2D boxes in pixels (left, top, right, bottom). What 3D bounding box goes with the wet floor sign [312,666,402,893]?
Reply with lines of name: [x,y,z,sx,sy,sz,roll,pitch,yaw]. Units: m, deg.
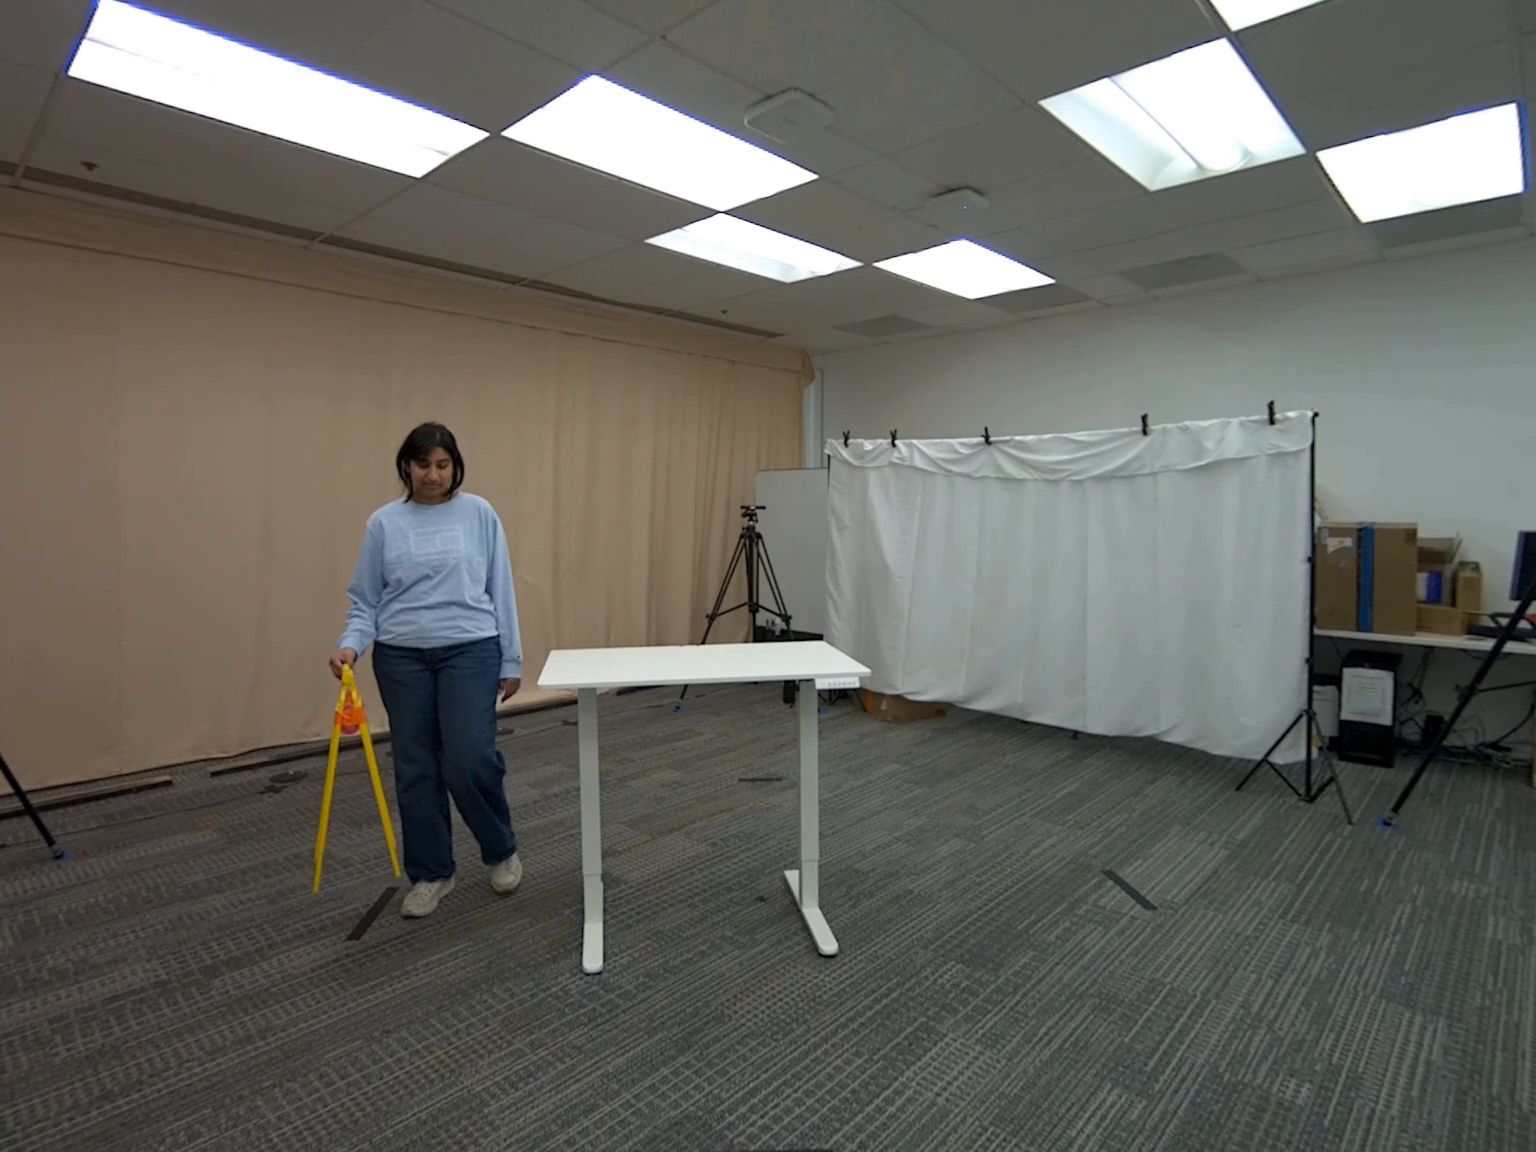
wet floor sign: [-1.305,0.605,2.645,0.283,0.646,0.288,-4,0,-24]
